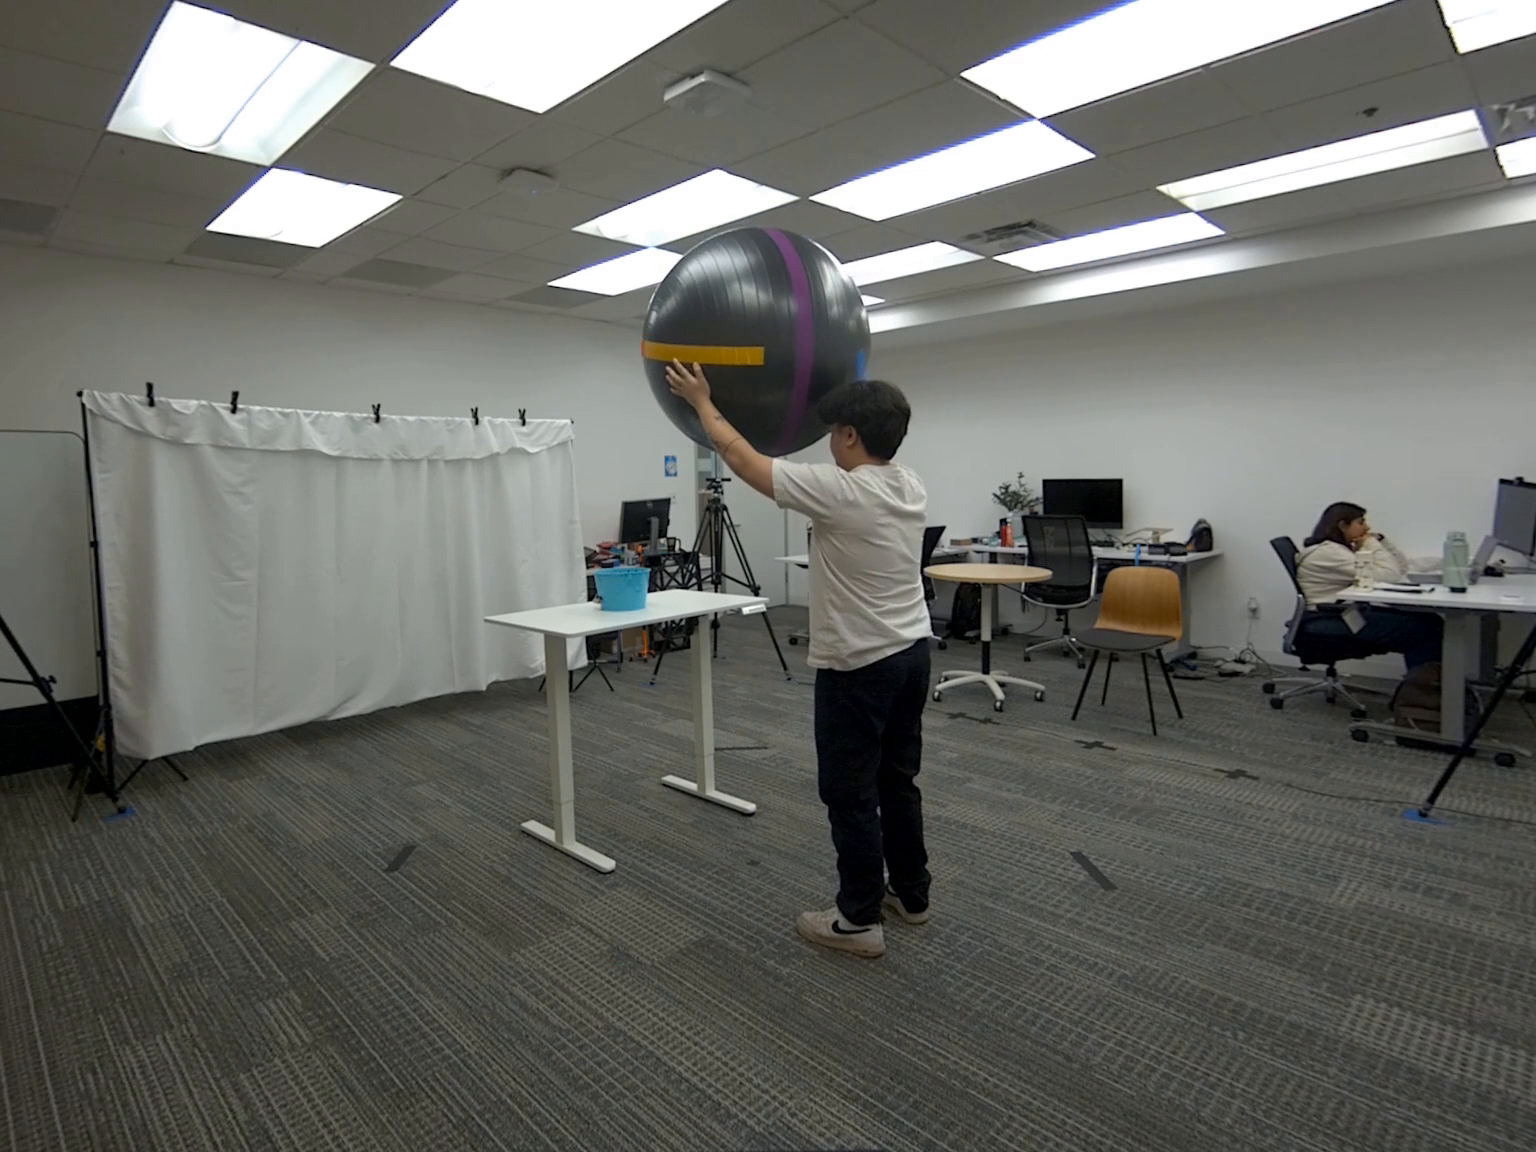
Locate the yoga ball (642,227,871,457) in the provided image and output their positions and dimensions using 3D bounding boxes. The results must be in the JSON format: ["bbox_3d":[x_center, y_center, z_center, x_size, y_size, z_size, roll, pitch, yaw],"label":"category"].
[{"bbox_3d":[-0.041,-0.766,2.865,0.757,0.755,0.762,-1,5,-2],"label":"yoga ball"}]
